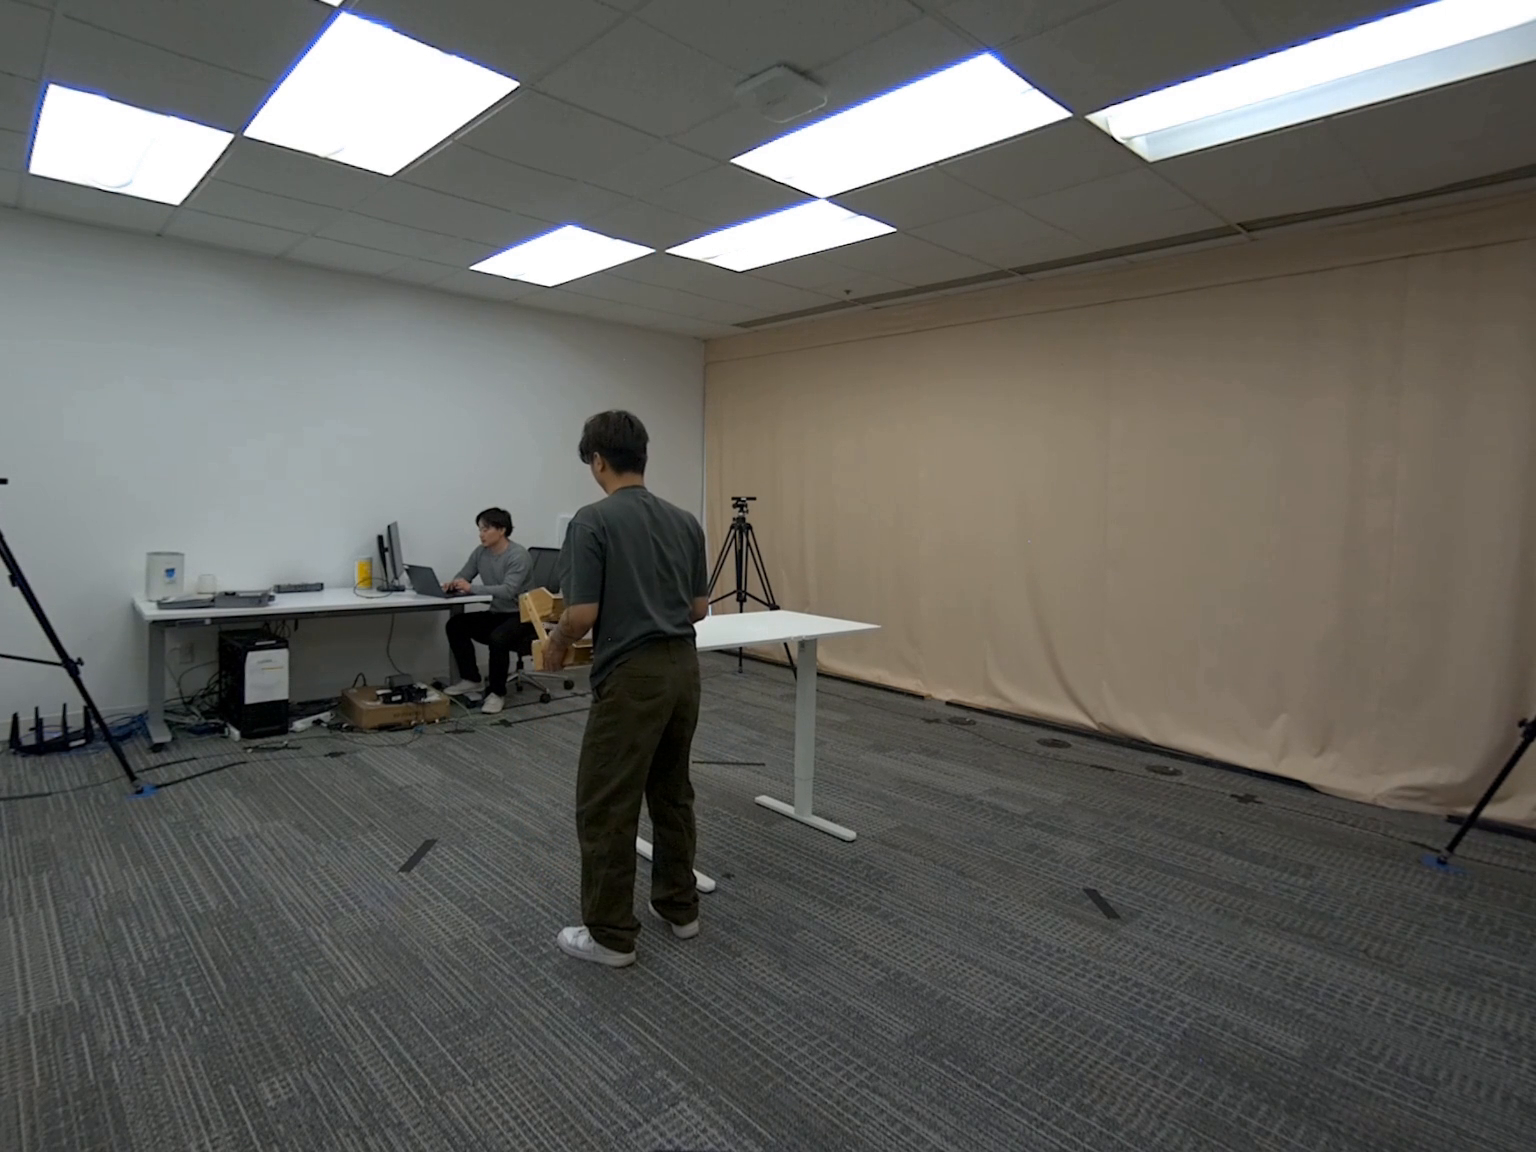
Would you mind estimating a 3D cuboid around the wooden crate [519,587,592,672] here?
[{"bbox_3d":[-0.614,0.163,2.814,0.317,0.275,0.307,0,-12,-45],"label":"wooden crate"}]
